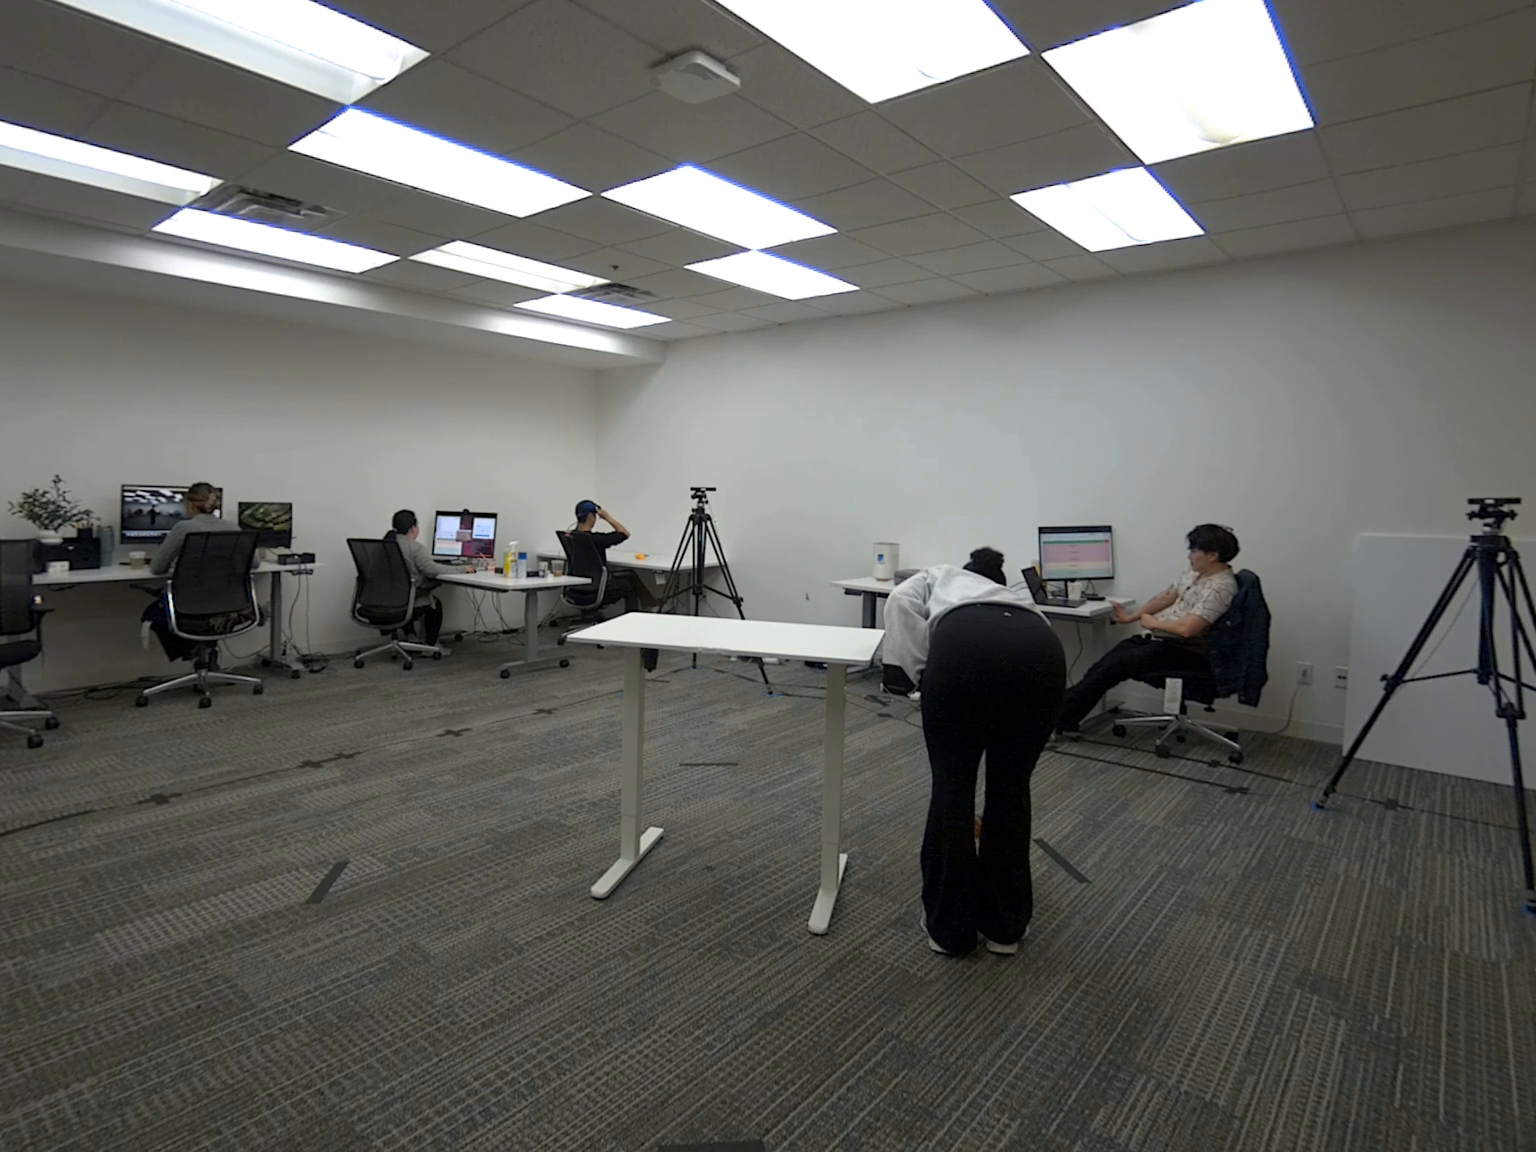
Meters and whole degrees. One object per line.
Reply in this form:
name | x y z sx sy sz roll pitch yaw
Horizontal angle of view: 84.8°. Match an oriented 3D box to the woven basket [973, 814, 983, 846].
woven basket | 0.758 0.876 3.046 0.259 0.074 0.338 8 -15 22
